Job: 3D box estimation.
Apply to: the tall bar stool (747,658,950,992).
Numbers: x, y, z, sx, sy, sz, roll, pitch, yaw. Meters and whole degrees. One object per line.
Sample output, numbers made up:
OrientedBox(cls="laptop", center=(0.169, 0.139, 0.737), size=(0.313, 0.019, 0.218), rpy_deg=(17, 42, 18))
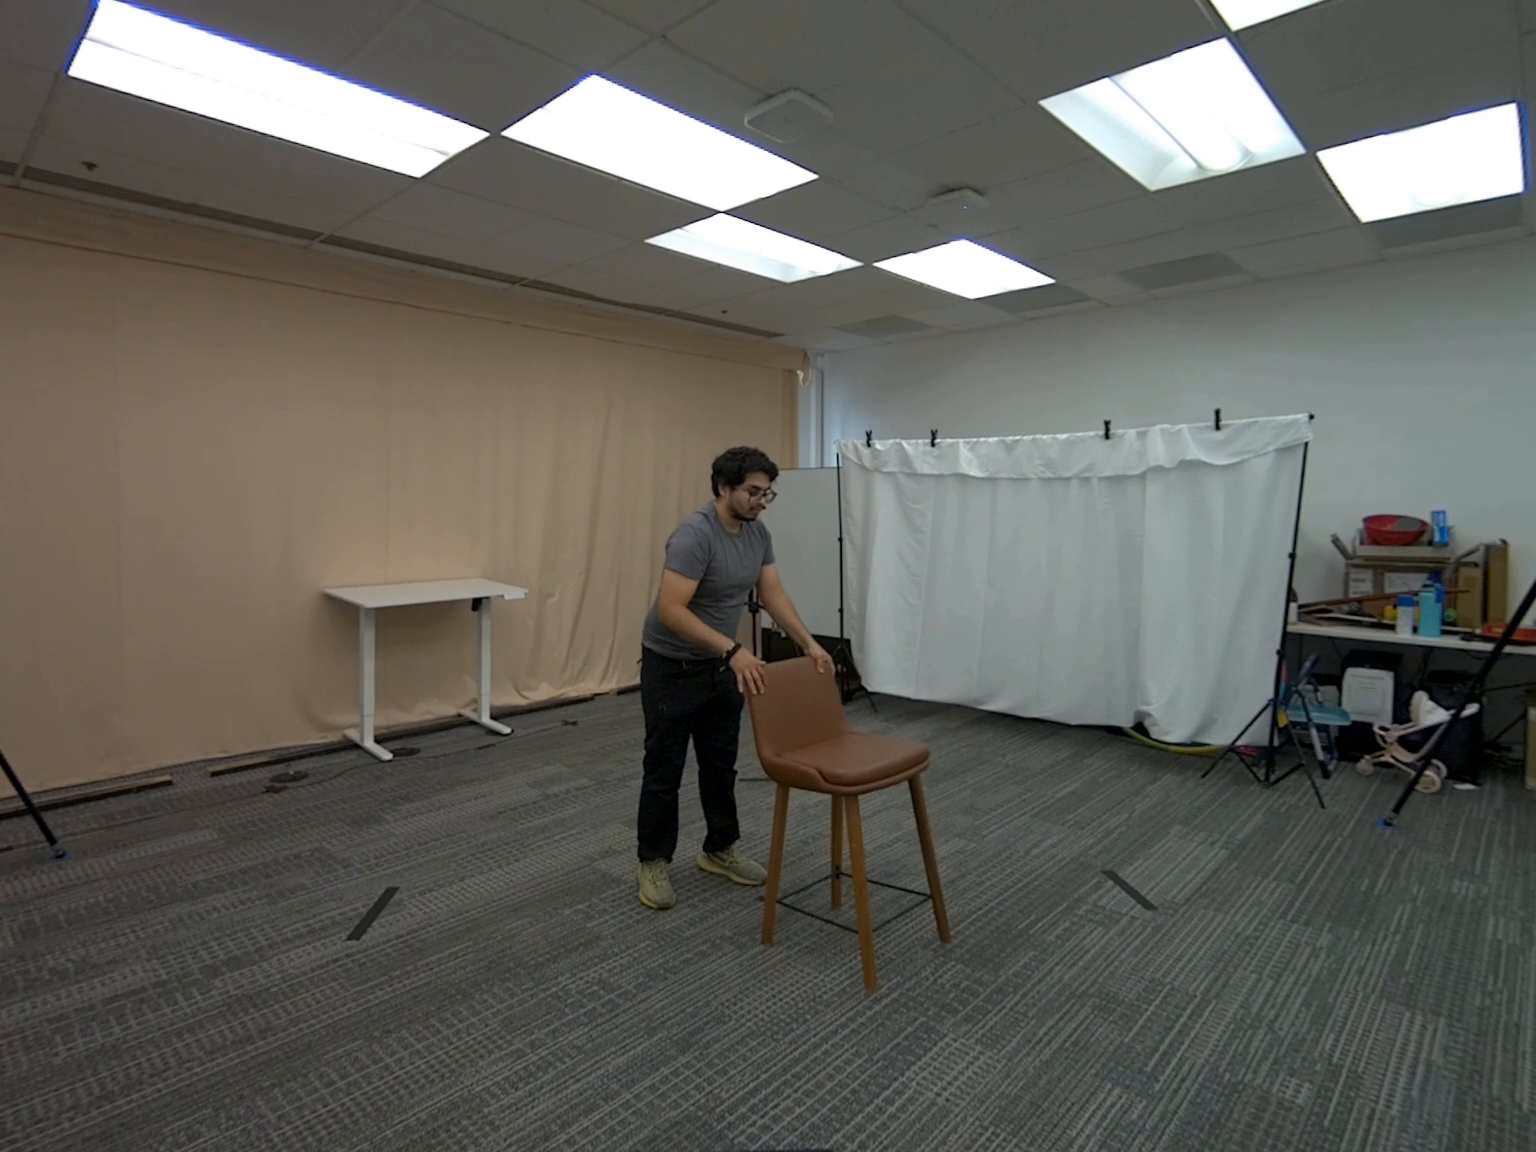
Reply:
OrientedBox(cls="tall bar stool", center=(0.241, 0.721, 2.649), size=(0.442, 0.891, 0.482), rpy_deg=(-3, -2, -44))
